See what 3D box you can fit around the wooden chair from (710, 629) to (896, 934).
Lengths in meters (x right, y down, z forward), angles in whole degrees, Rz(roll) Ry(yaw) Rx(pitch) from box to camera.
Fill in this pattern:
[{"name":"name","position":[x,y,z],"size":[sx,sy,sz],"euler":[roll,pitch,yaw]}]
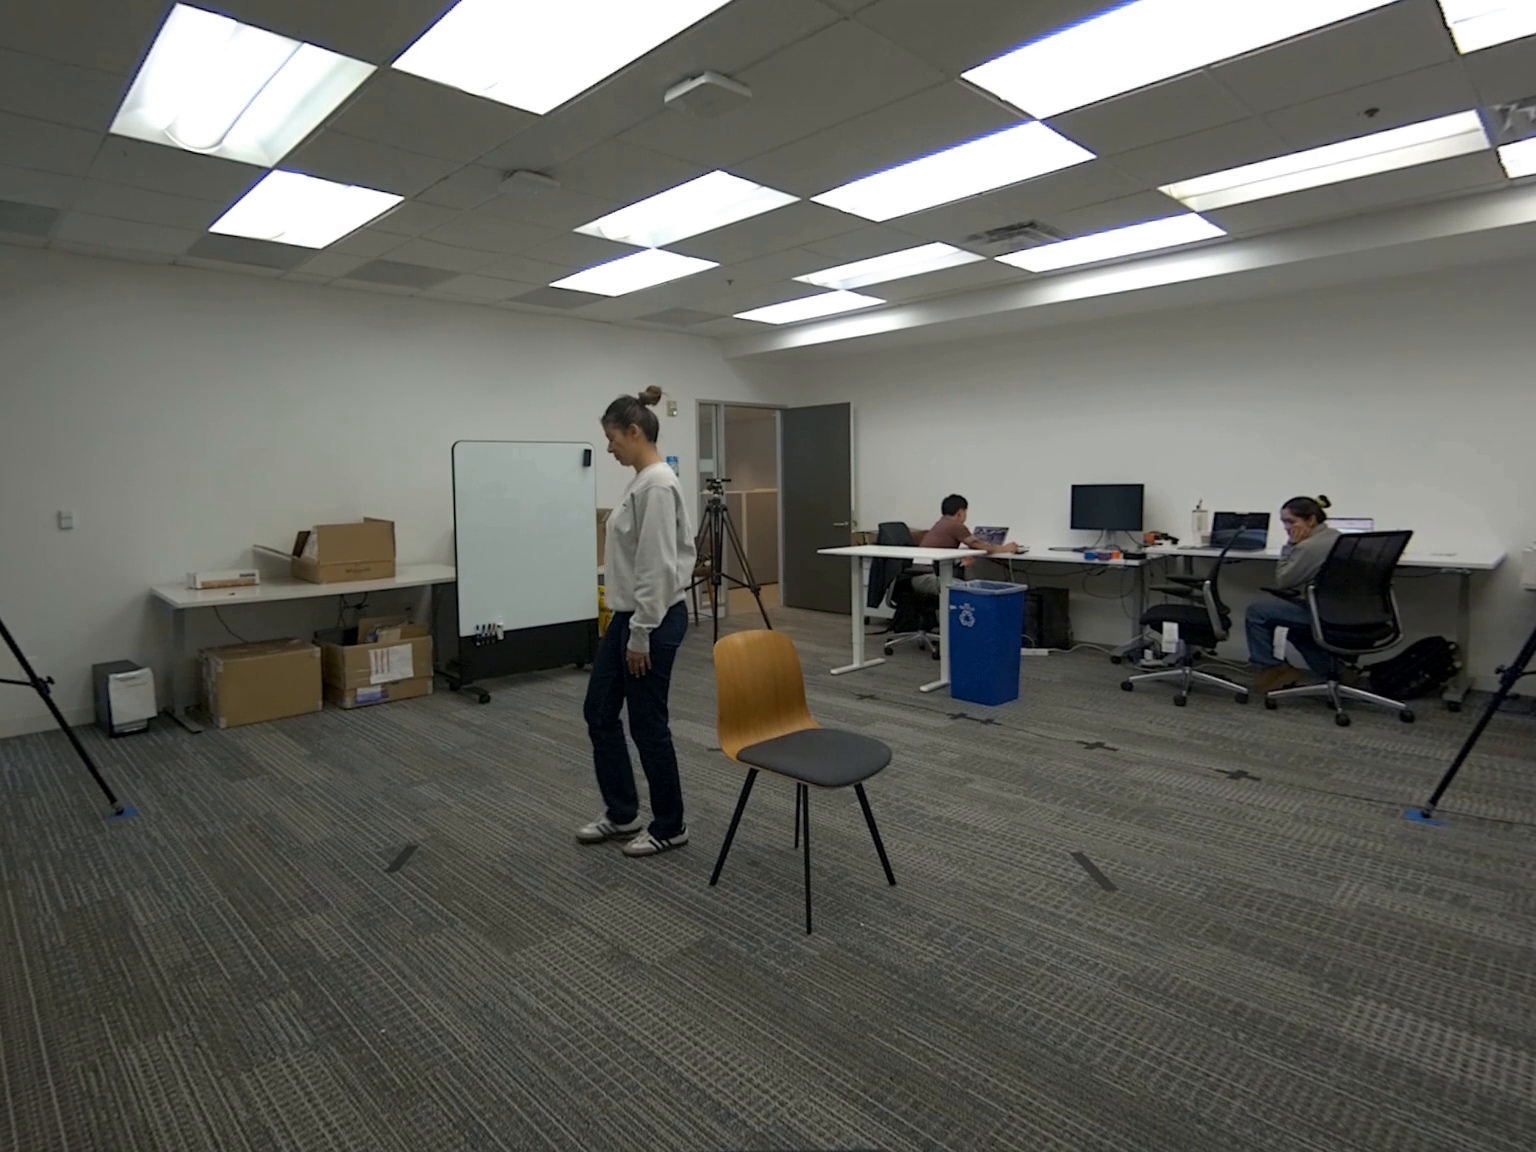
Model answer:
[{"name":"wooden chair","position":[0.118,0.639,2.892],"size":[0.465,0.877,0.538],"euler":[-4,1,-44]}]
